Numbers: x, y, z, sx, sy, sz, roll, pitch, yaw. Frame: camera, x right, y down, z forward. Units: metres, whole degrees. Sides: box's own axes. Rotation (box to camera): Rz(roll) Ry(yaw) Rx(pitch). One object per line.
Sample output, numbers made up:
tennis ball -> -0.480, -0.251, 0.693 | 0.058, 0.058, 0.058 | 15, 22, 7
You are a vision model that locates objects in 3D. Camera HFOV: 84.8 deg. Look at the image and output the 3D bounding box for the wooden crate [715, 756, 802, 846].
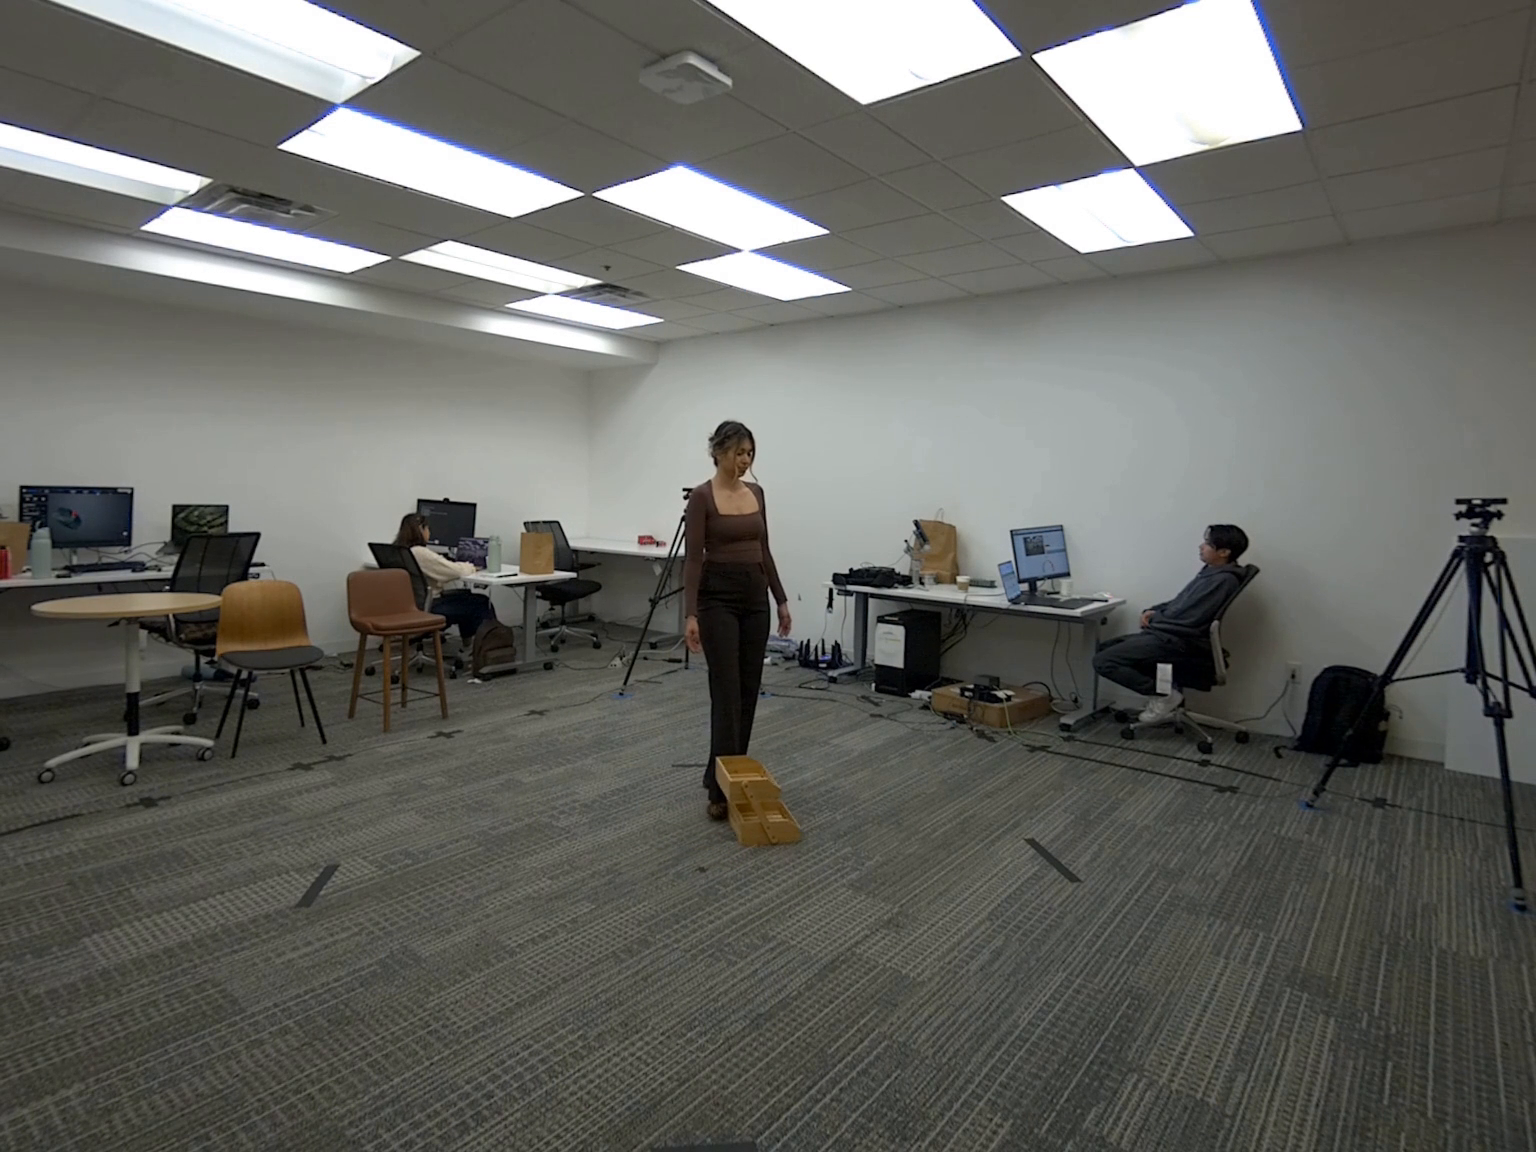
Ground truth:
wooden crate -> -0.042, 0.903, 3.486 | 0.298, 0.272, 0.330 | 0, 4, -13
